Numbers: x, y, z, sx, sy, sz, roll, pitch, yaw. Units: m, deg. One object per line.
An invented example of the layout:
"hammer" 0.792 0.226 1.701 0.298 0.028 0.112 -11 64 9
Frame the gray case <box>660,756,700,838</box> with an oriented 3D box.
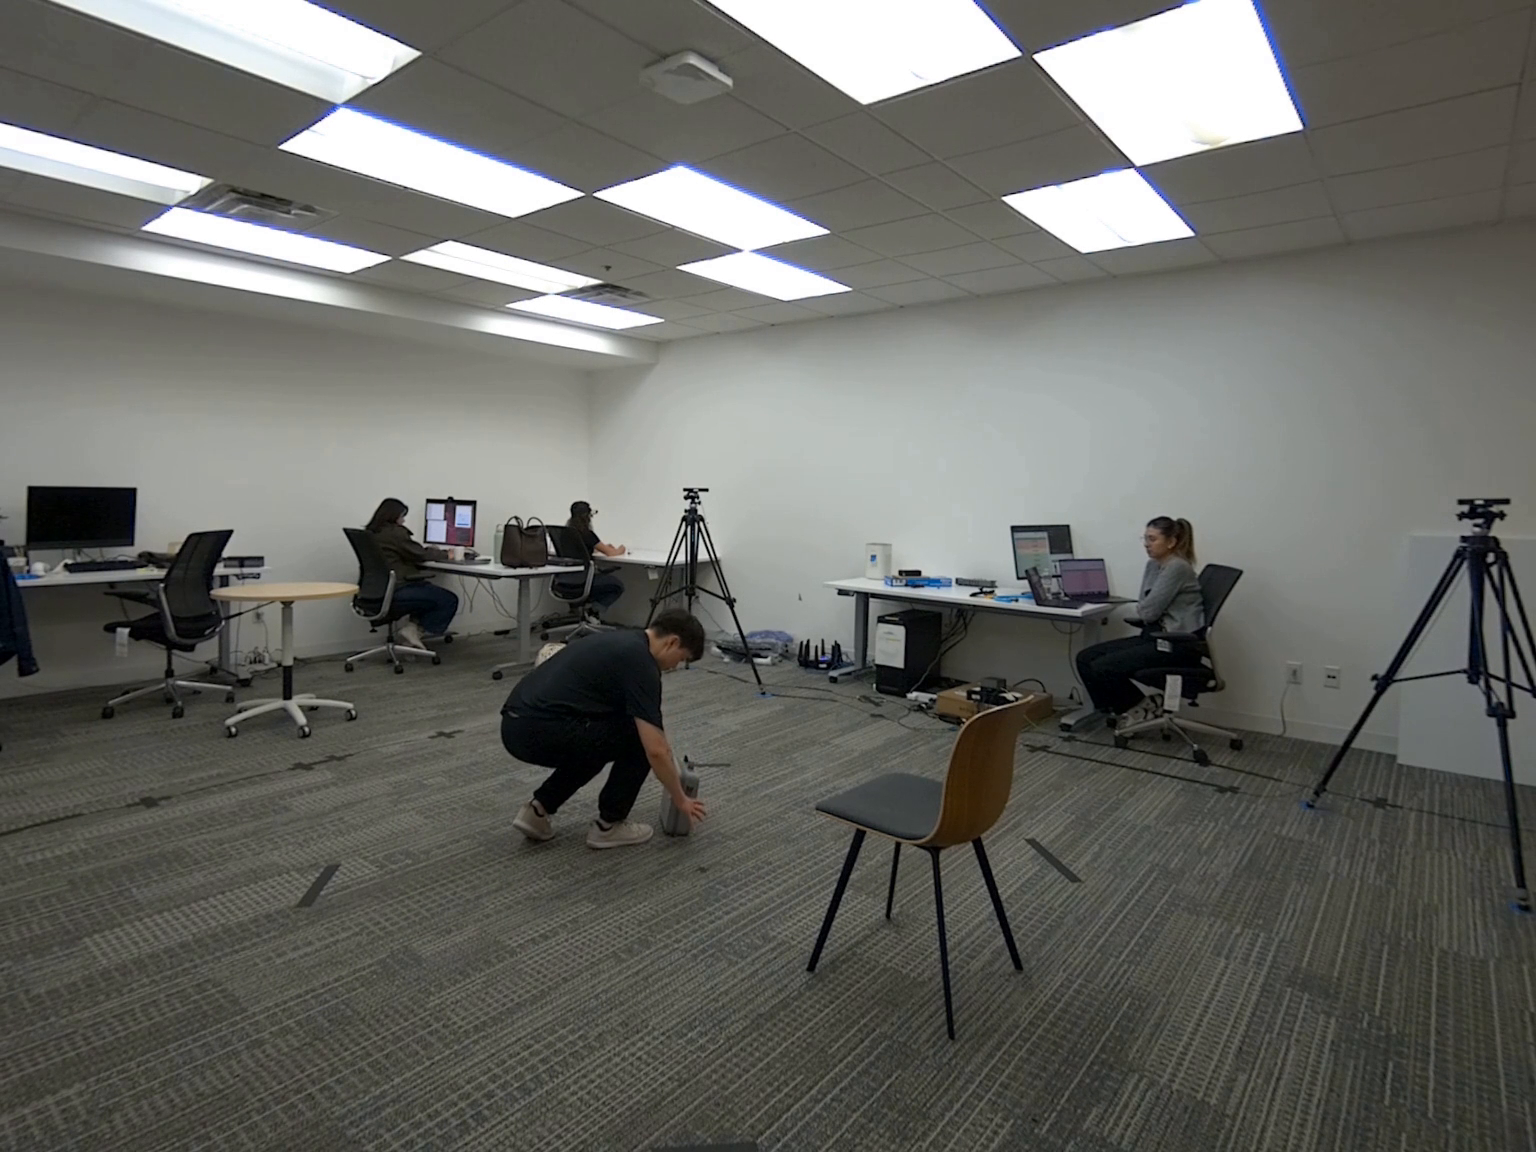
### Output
"gray case" -0.375 0.901 3.505 0.103 0.260 0.261 11 2 -13
